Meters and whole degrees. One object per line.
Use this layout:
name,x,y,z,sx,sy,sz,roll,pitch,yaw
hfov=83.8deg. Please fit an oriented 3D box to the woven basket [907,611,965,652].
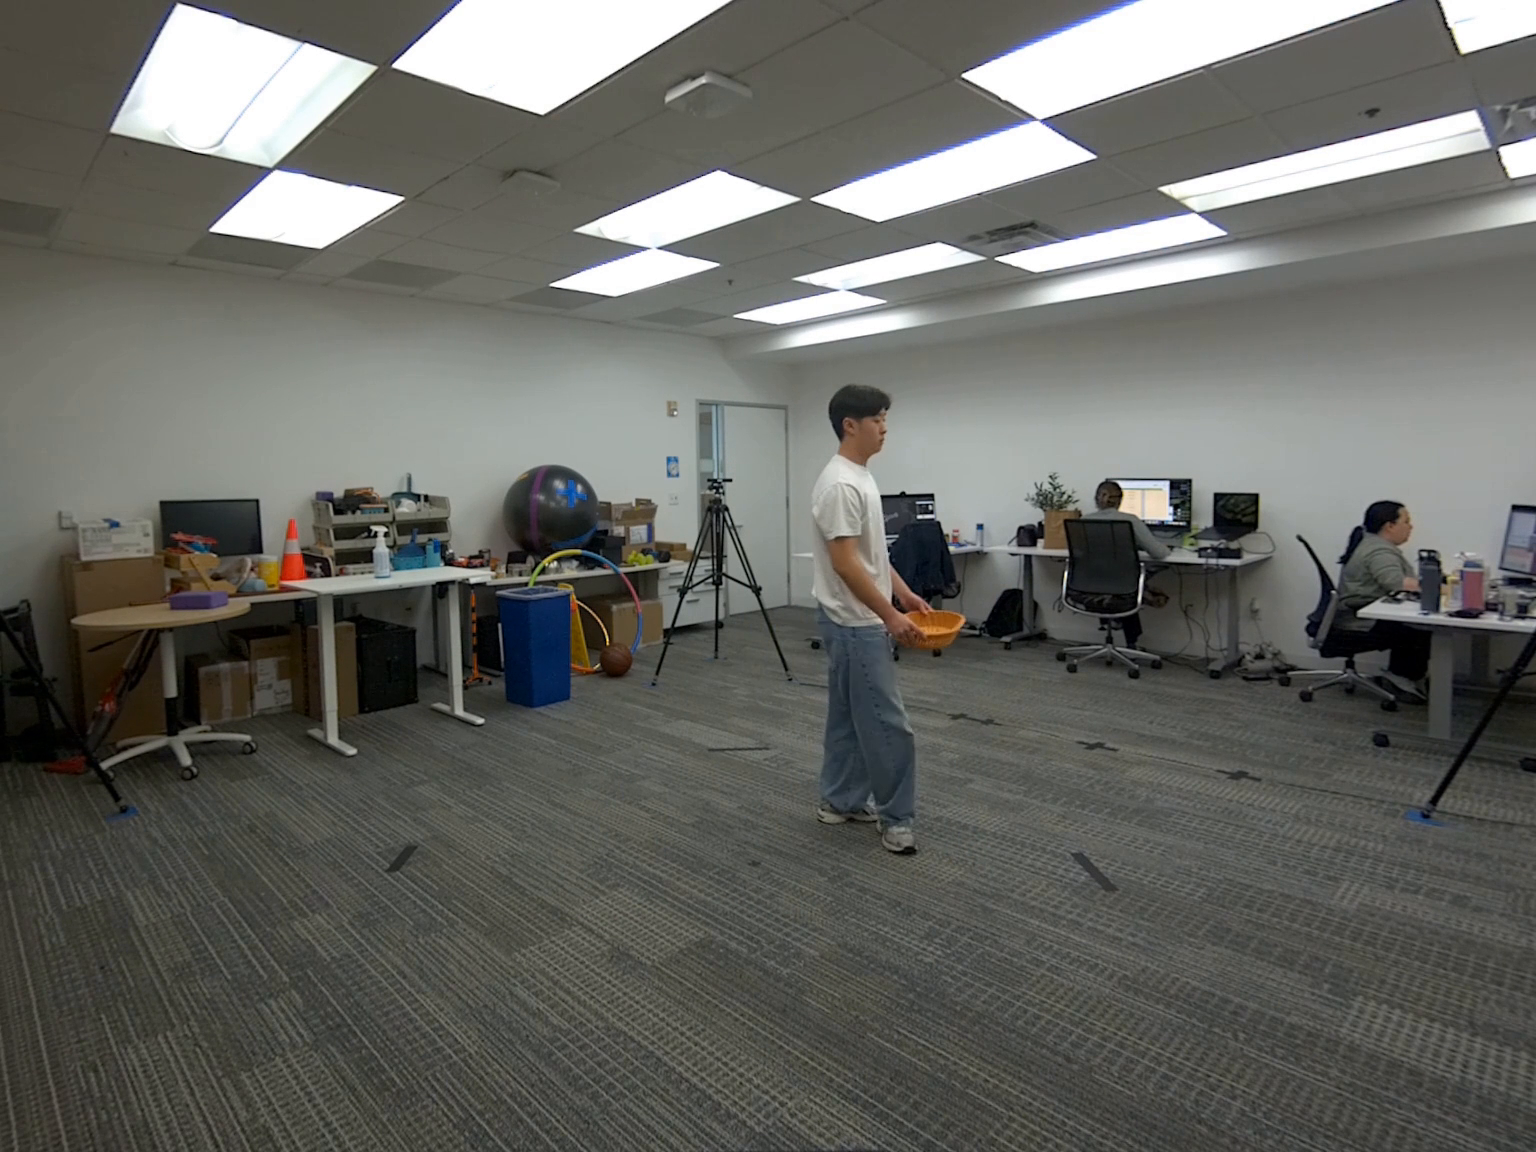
woven basket,0.589,0.204,3.207,0.259,0.073,0.345,3,12,27
